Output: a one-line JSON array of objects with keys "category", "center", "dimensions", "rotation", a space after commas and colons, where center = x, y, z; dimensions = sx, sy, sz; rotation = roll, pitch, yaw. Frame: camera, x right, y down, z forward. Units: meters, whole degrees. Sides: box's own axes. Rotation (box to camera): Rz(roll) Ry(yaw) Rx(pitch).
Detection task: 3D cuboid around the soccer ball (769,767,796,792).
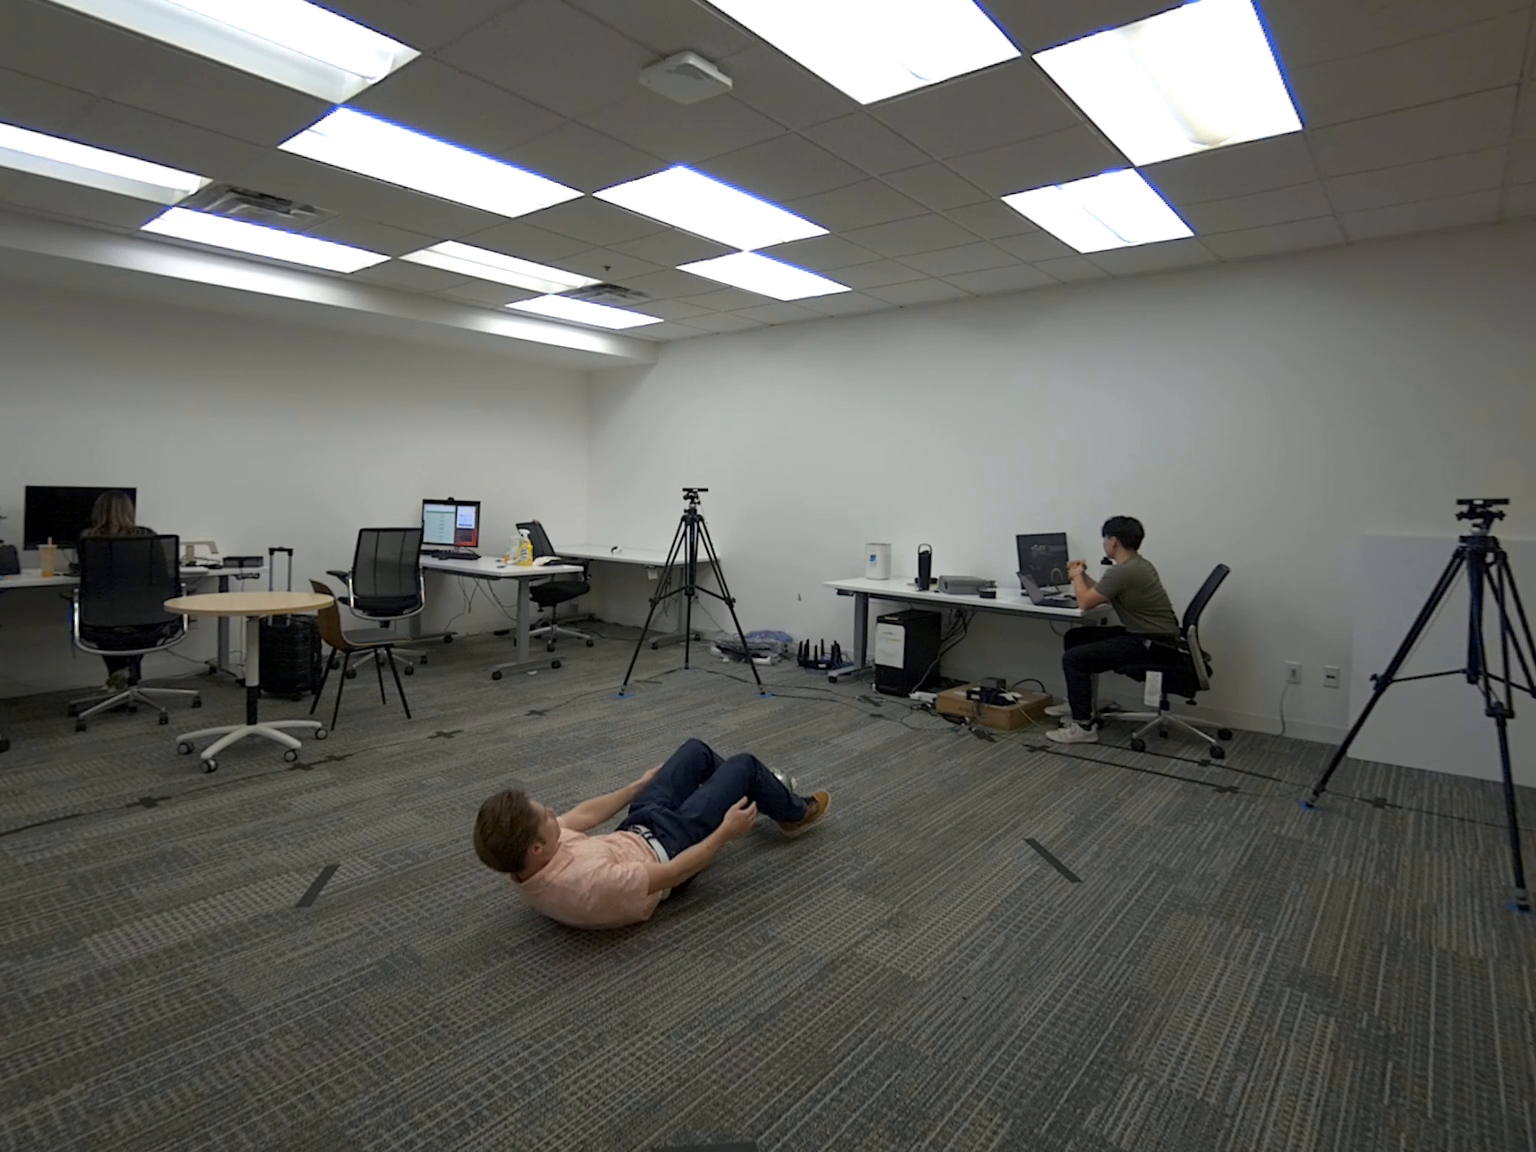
[{"category": "soccer ball", "center": [0.000, 0.866, 3.427], "dimensions": [0.187, 0.187, 0.188], "rotation": [1, 4, -2]}]
